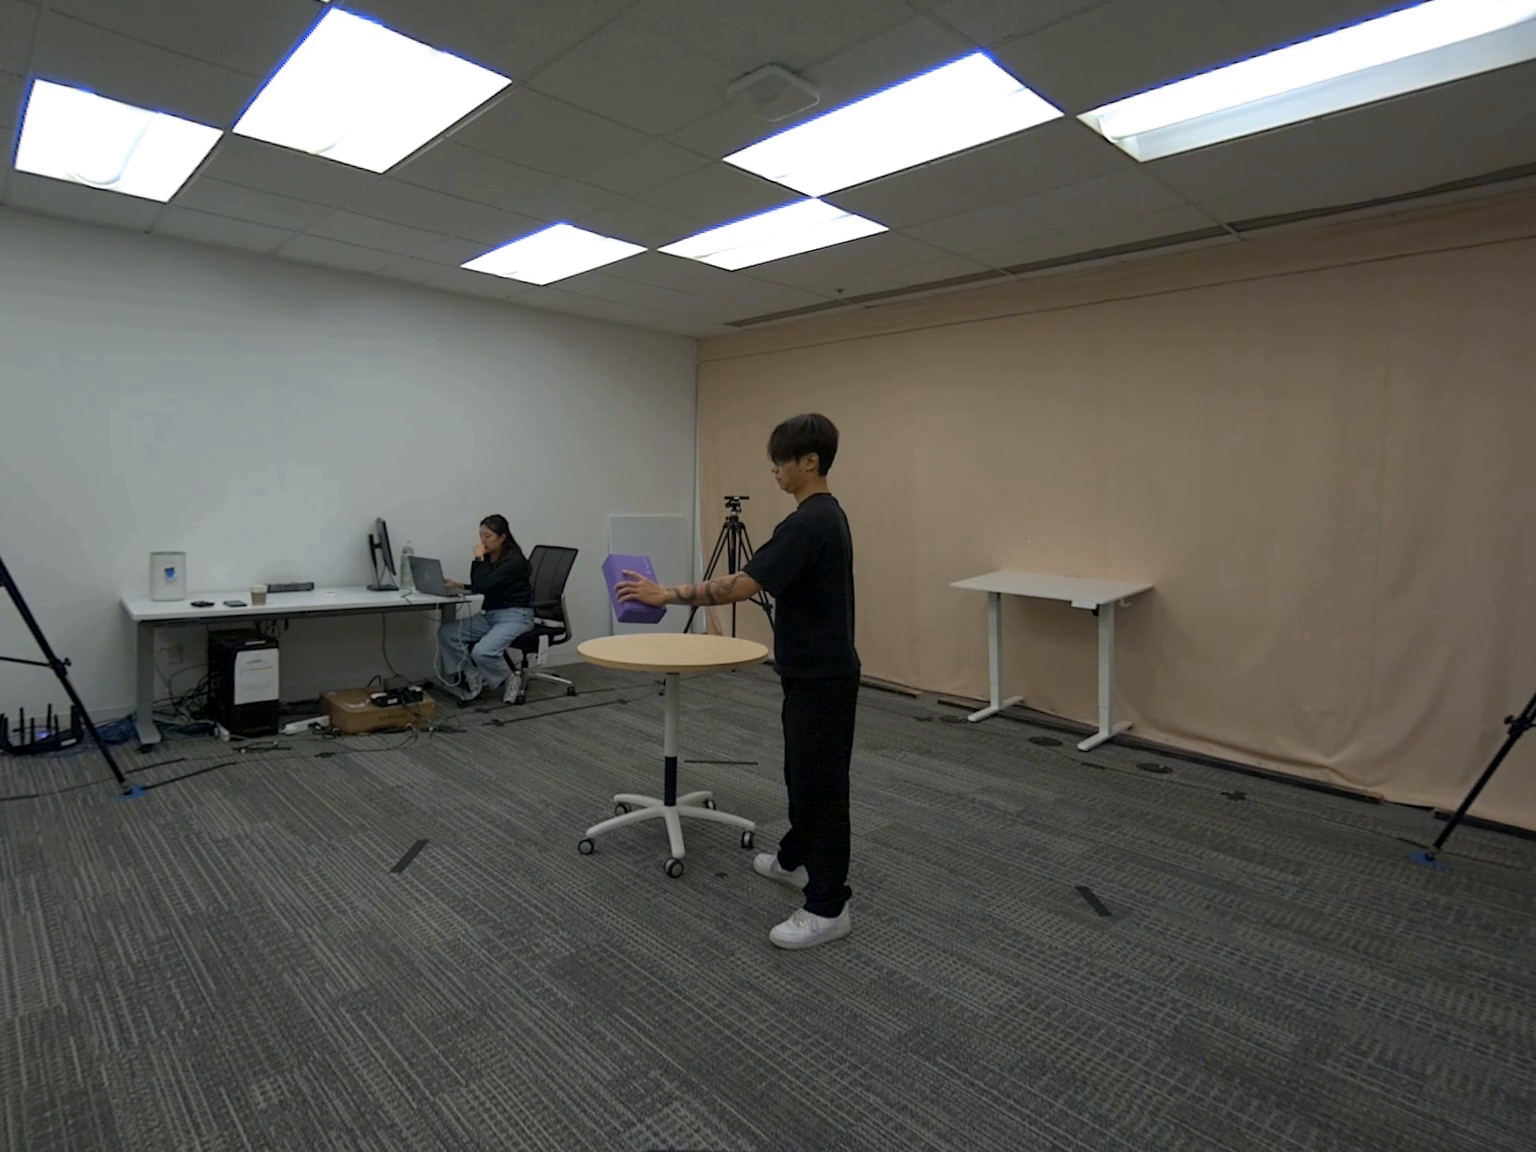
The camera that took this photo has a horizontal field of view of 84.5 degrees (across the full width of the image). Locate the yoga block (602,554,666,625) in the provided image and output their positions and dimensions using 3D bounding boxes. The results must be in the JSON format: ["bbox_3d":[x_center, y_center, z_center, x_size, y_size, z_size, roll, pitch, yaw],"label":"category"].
[{"bbox_3d":[-0.423,0.039,2.669,0.145,0.236,0.076,4,-43,-36],"label":"yoga block"}]
